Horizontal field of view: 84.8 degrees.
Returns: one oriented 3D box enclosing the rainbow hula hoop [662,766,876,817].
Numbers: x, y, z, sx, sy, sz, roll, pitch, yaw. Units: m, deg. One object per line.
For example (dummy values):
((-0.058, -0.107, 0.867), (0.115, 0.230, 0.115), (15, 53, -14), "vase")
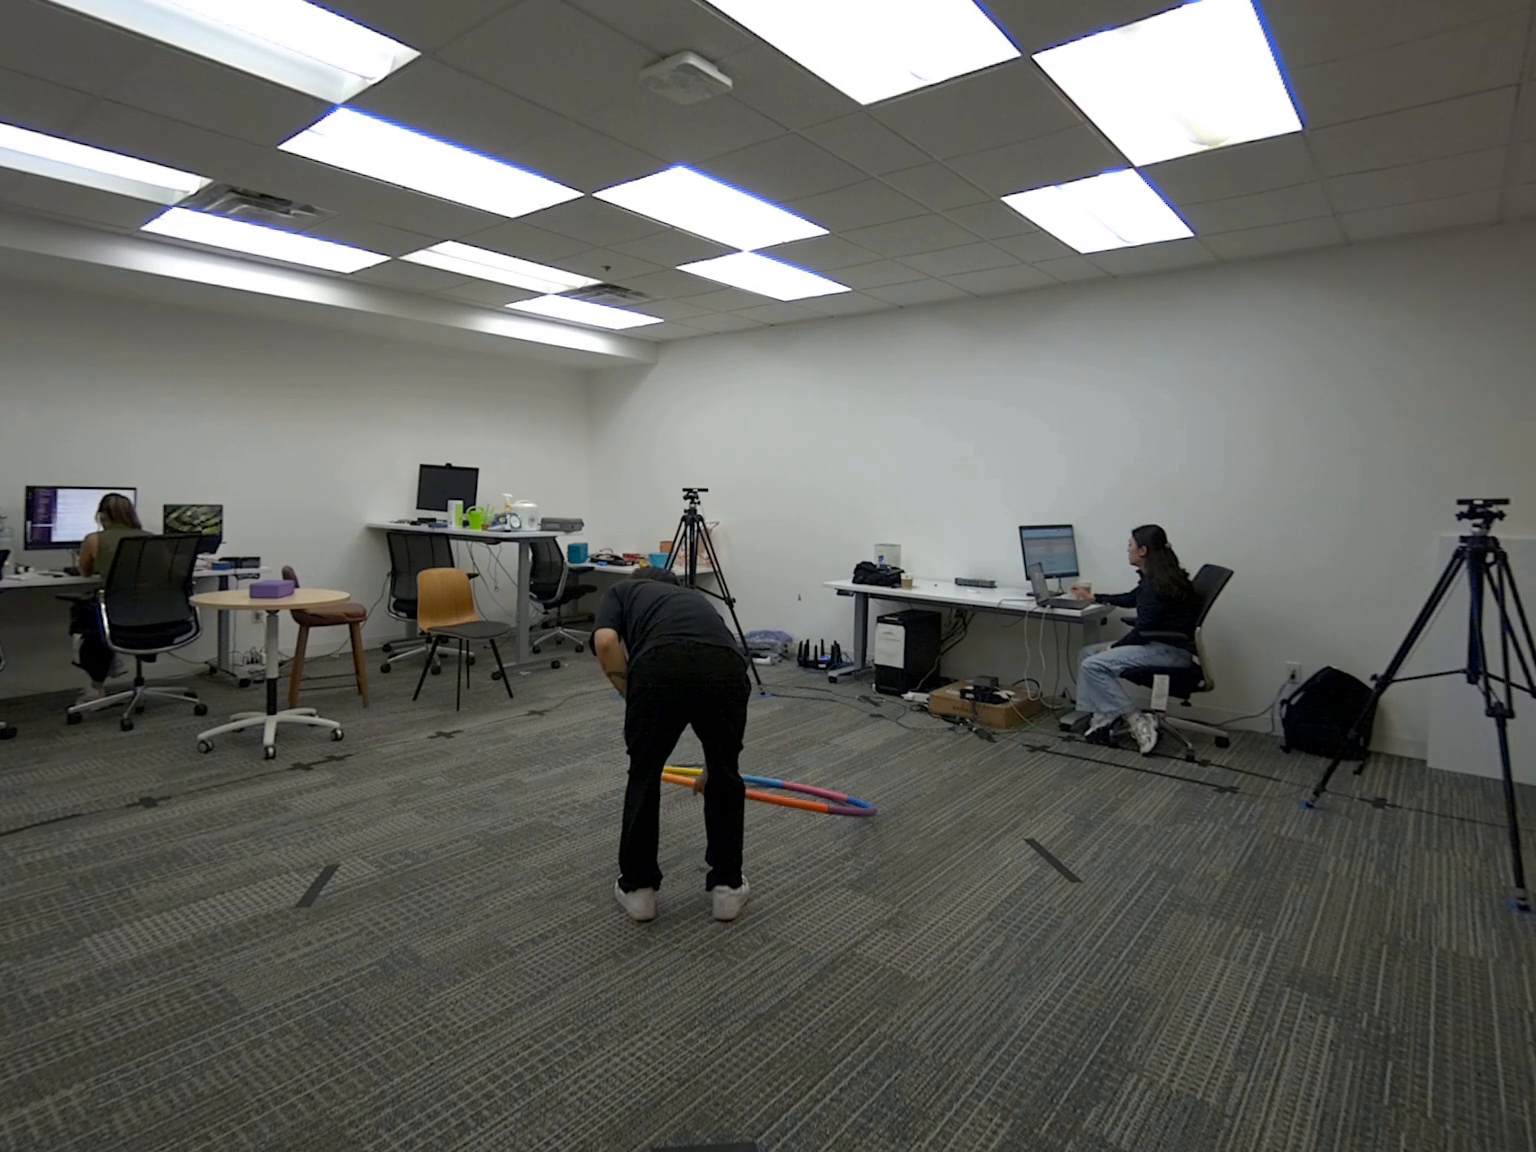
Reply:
((-0.052, 0.874, 3.539), (0.980, 0.036, 0.970), (9, -9, 0), "rainbow hula hoop")
